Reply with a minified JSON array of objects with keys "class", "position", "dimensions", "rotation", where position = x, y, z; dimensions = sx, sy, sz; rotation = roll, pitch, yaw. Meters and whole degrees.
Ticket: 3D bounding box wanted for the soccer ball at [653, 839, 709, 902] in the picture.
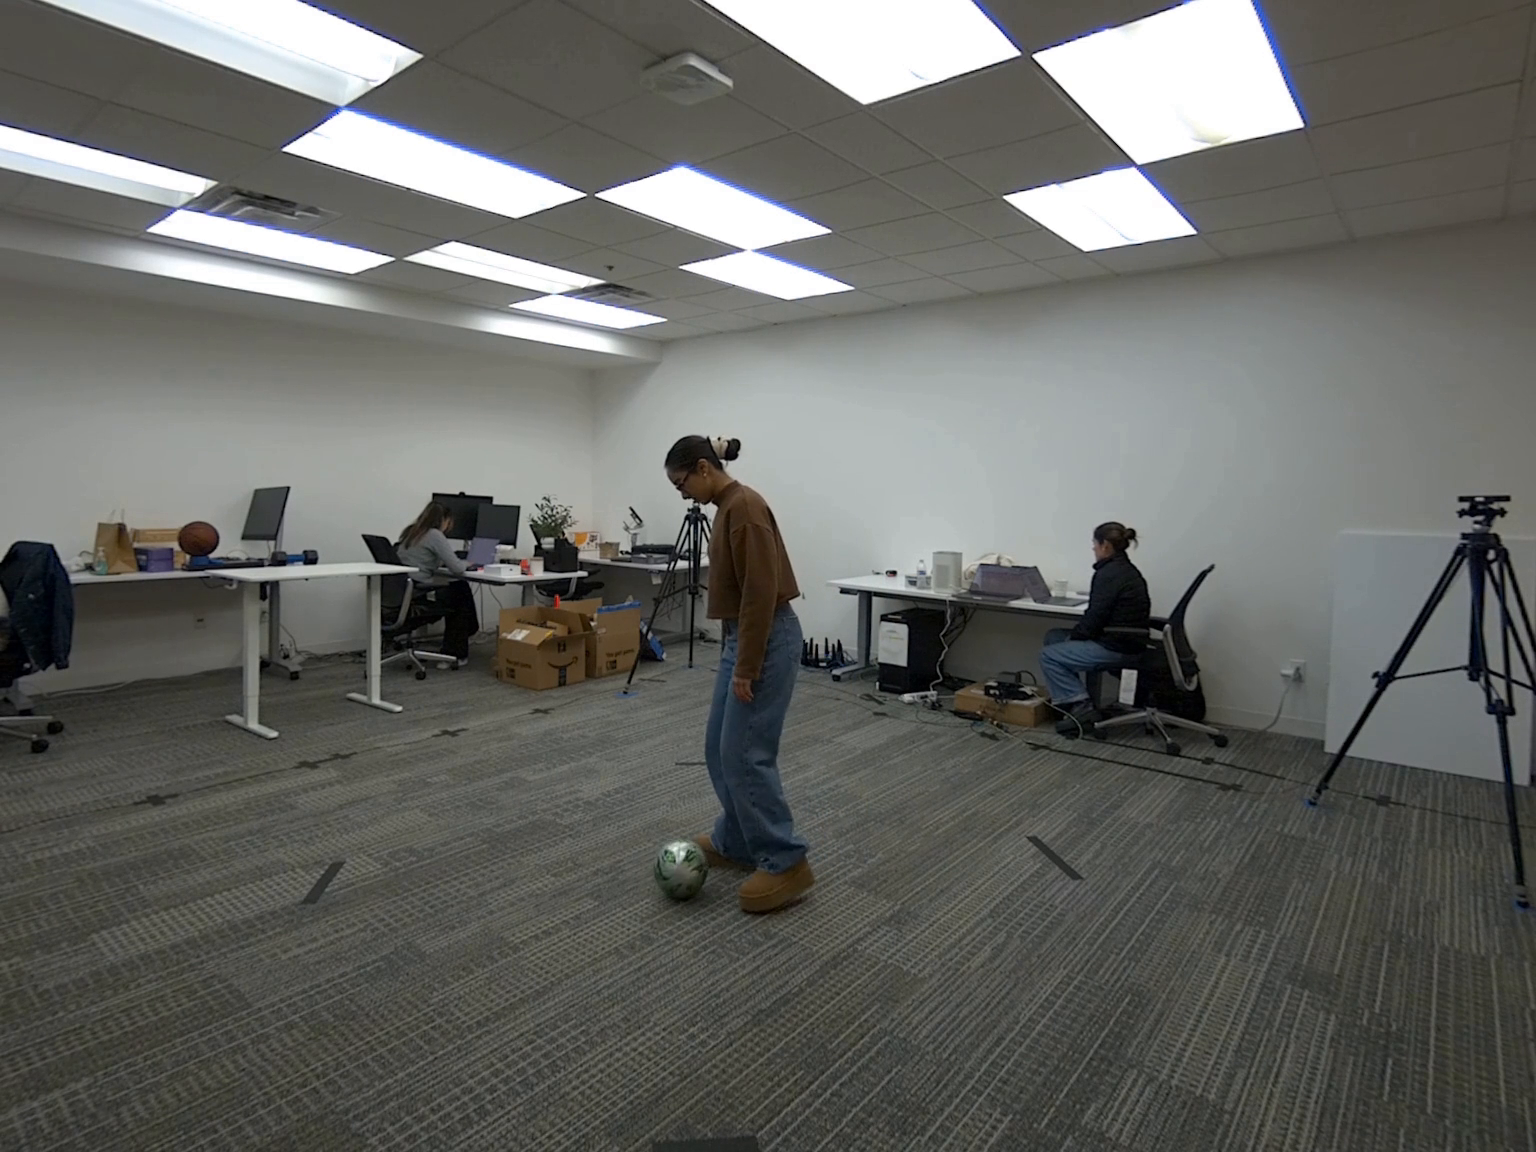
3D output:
[{"class":"soccer ball","position":[-0.305,0.995,2.900],"dimensions":[0.187,0.187,0.188],"rotation":[1,4,-2]}]
